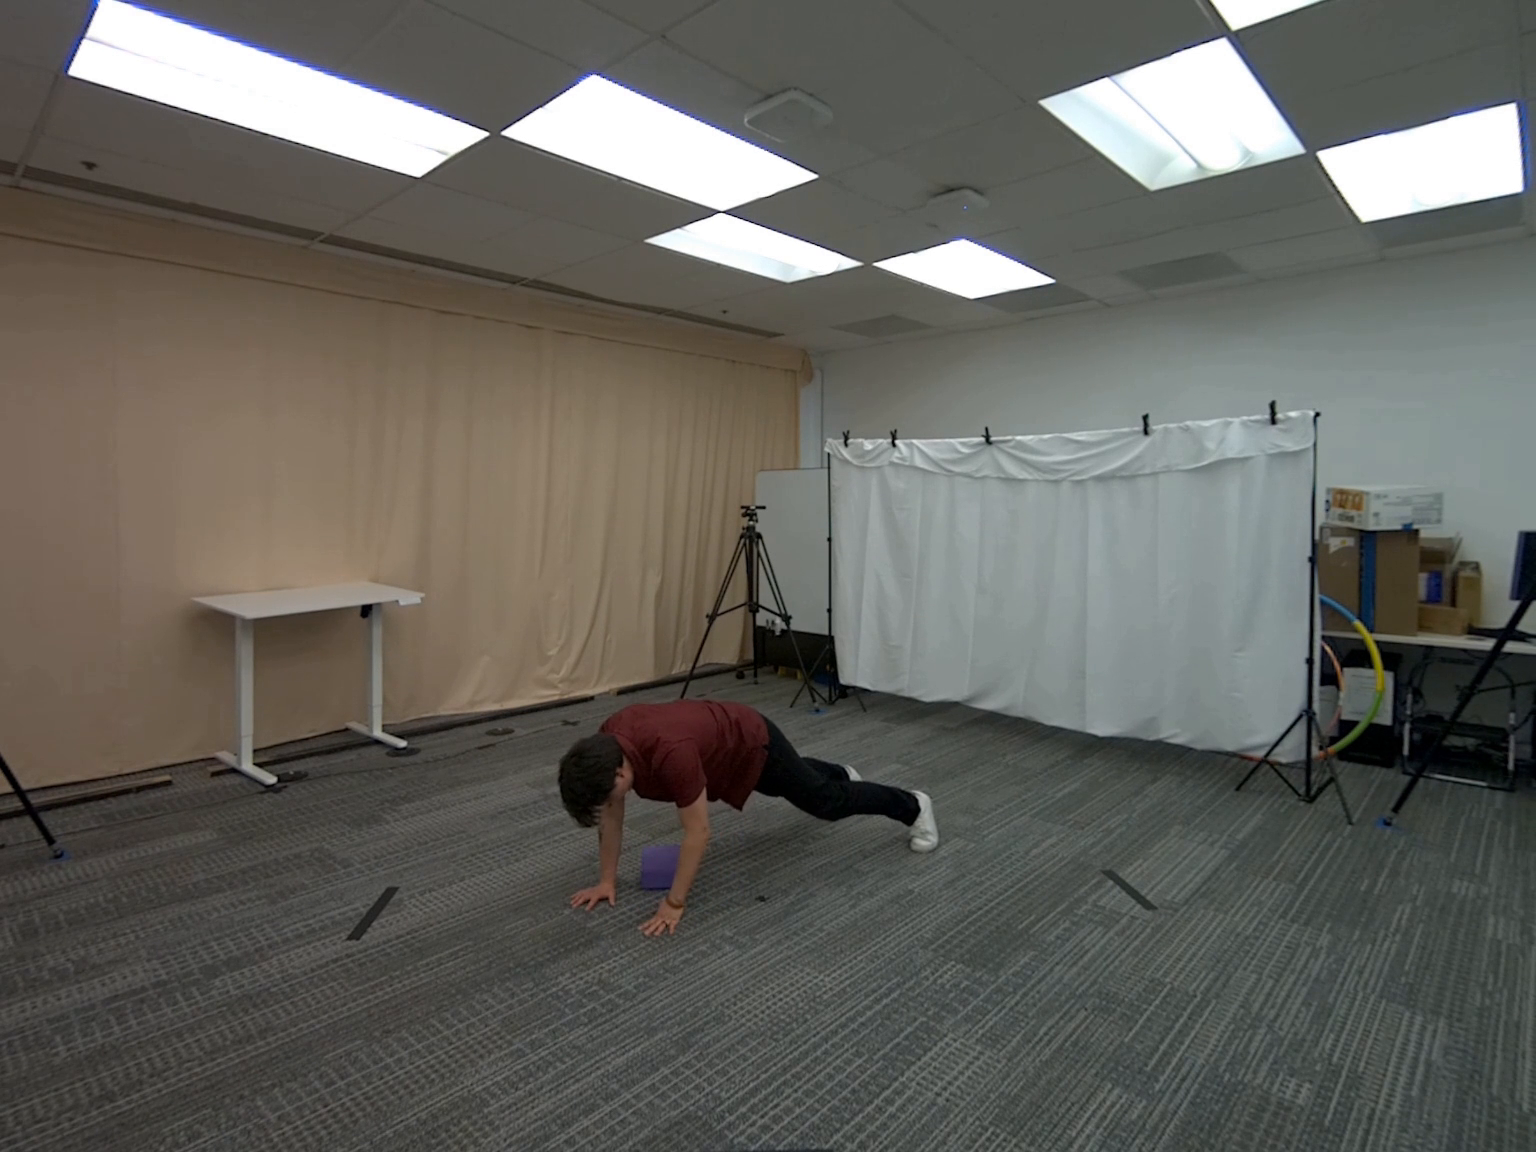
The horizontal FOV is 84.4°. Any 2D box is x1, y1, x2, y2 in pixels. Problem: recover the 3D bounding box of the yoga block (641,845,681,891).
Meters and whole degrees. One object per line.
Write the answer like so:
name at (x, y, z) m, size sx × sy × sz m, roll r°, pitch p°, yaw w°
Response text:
yoga block at (-0.403, 1.092, 3.164) m, size 0.148 × 0.076 × 0.231 m, roll -1°, pitch 5°, yaw -6°
